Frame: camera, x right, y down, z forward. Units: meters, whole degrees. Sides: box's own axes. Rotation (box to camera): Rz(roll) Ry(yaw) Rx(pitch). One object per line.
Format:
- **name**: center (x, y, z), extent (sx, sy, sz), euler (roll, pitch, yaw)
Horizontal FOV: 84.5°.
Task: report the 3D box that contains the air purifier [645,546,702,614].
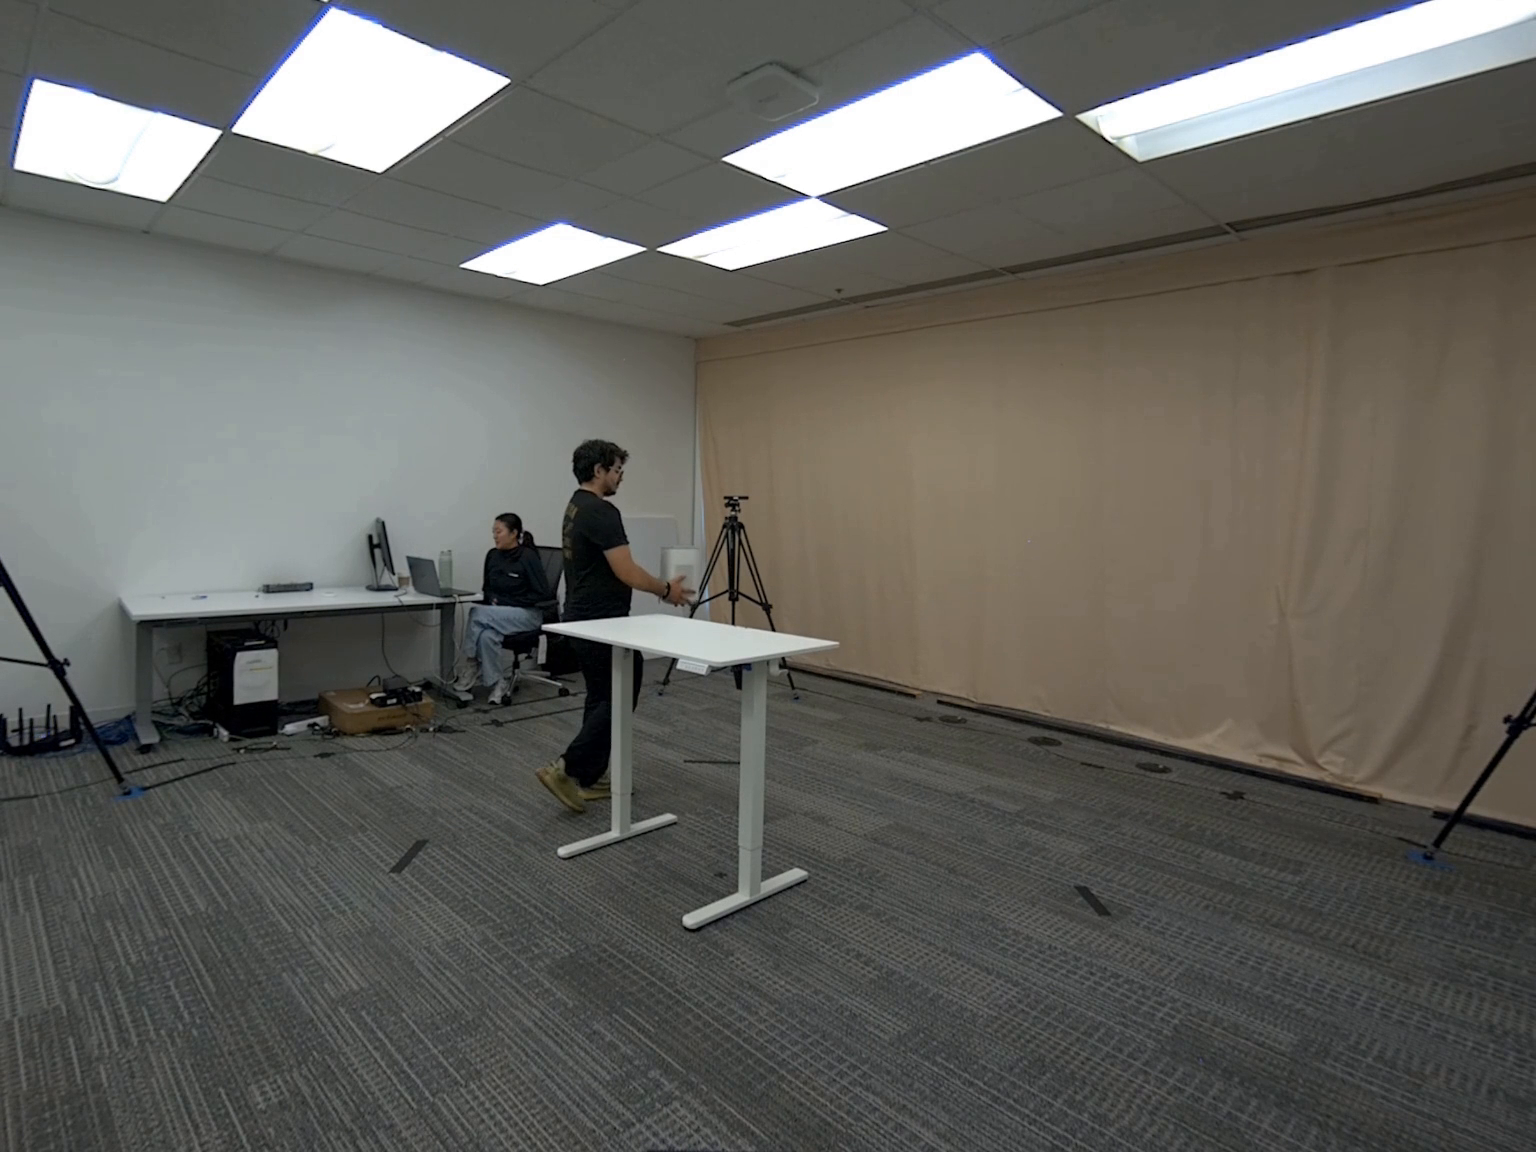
- **air purifier**: center (-0.427, -0.005, 3.956), extent (0.169, 0.265, 0.174), euler (-1, 3, -23)
